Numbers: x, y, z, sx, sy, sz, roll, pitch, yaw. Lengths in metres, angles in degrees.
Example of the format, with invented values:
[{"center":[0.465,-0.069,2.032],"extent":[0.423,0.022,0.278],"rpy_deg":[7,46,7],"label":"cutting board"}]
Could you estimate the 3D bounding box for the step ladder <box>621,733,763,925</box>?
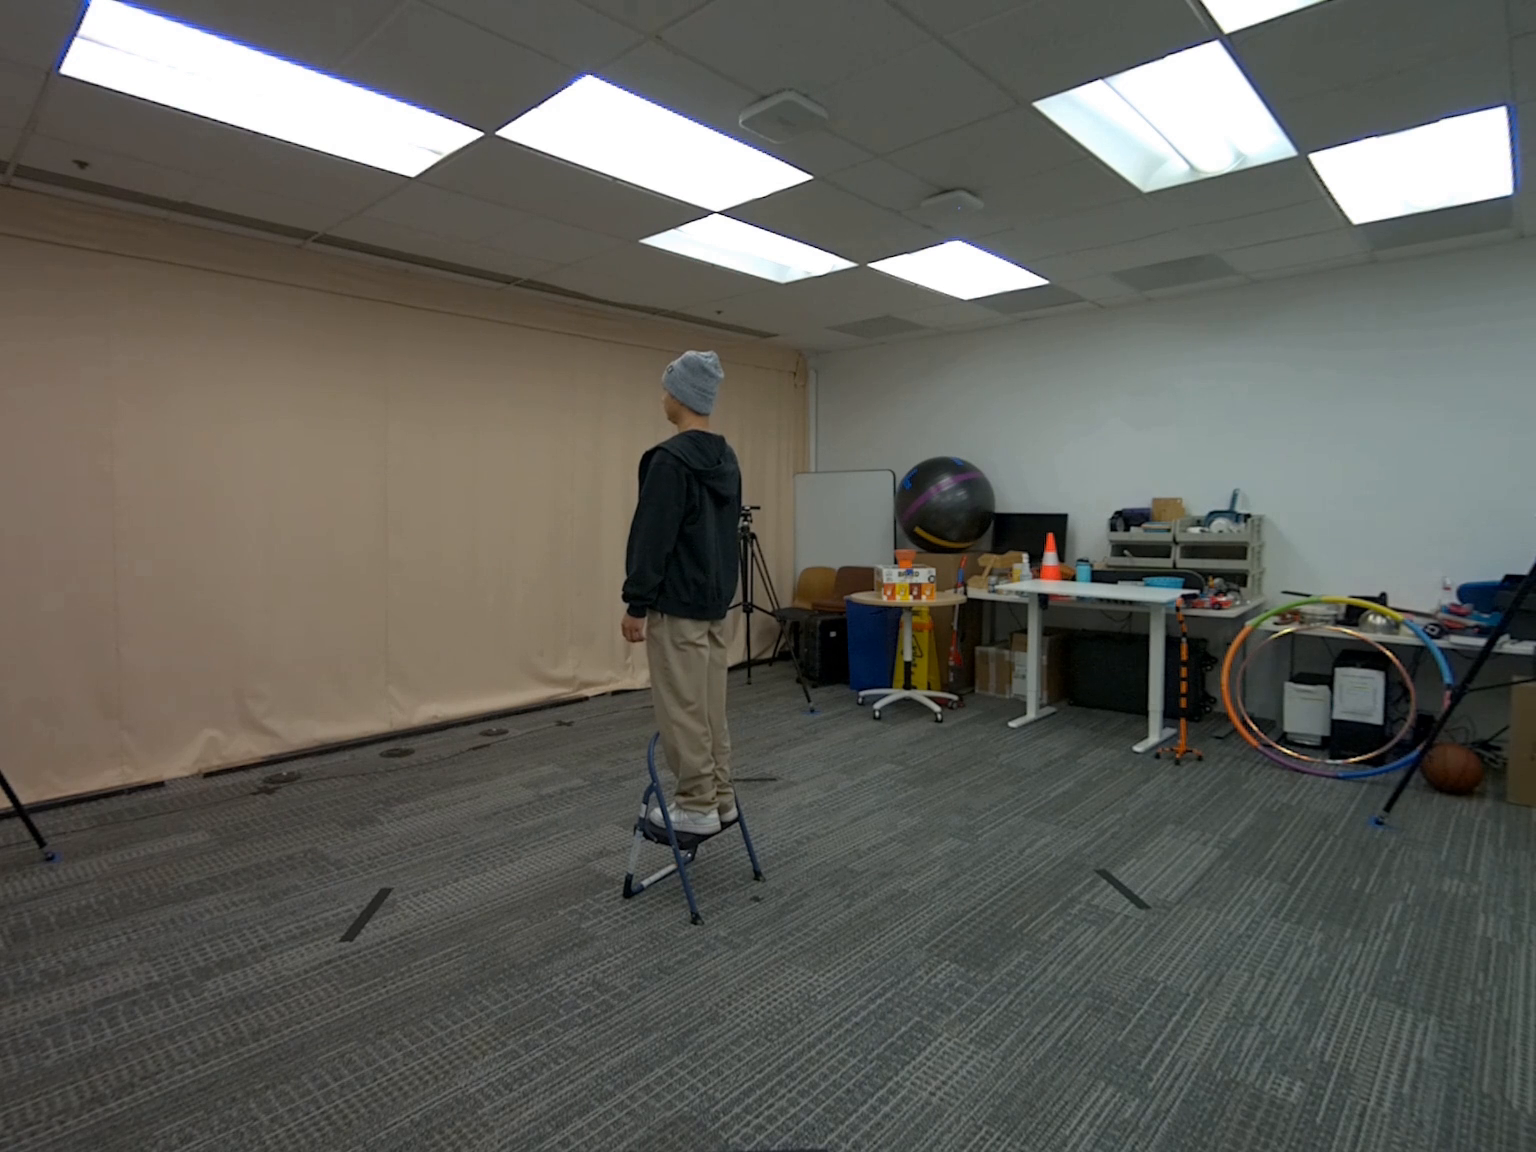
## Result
[{"center":[-0.268,0.837,3.056],"extent":[0.360,0.605,0.419],"rpy_deg":[1,4,33],"label":"step ladder"}]
